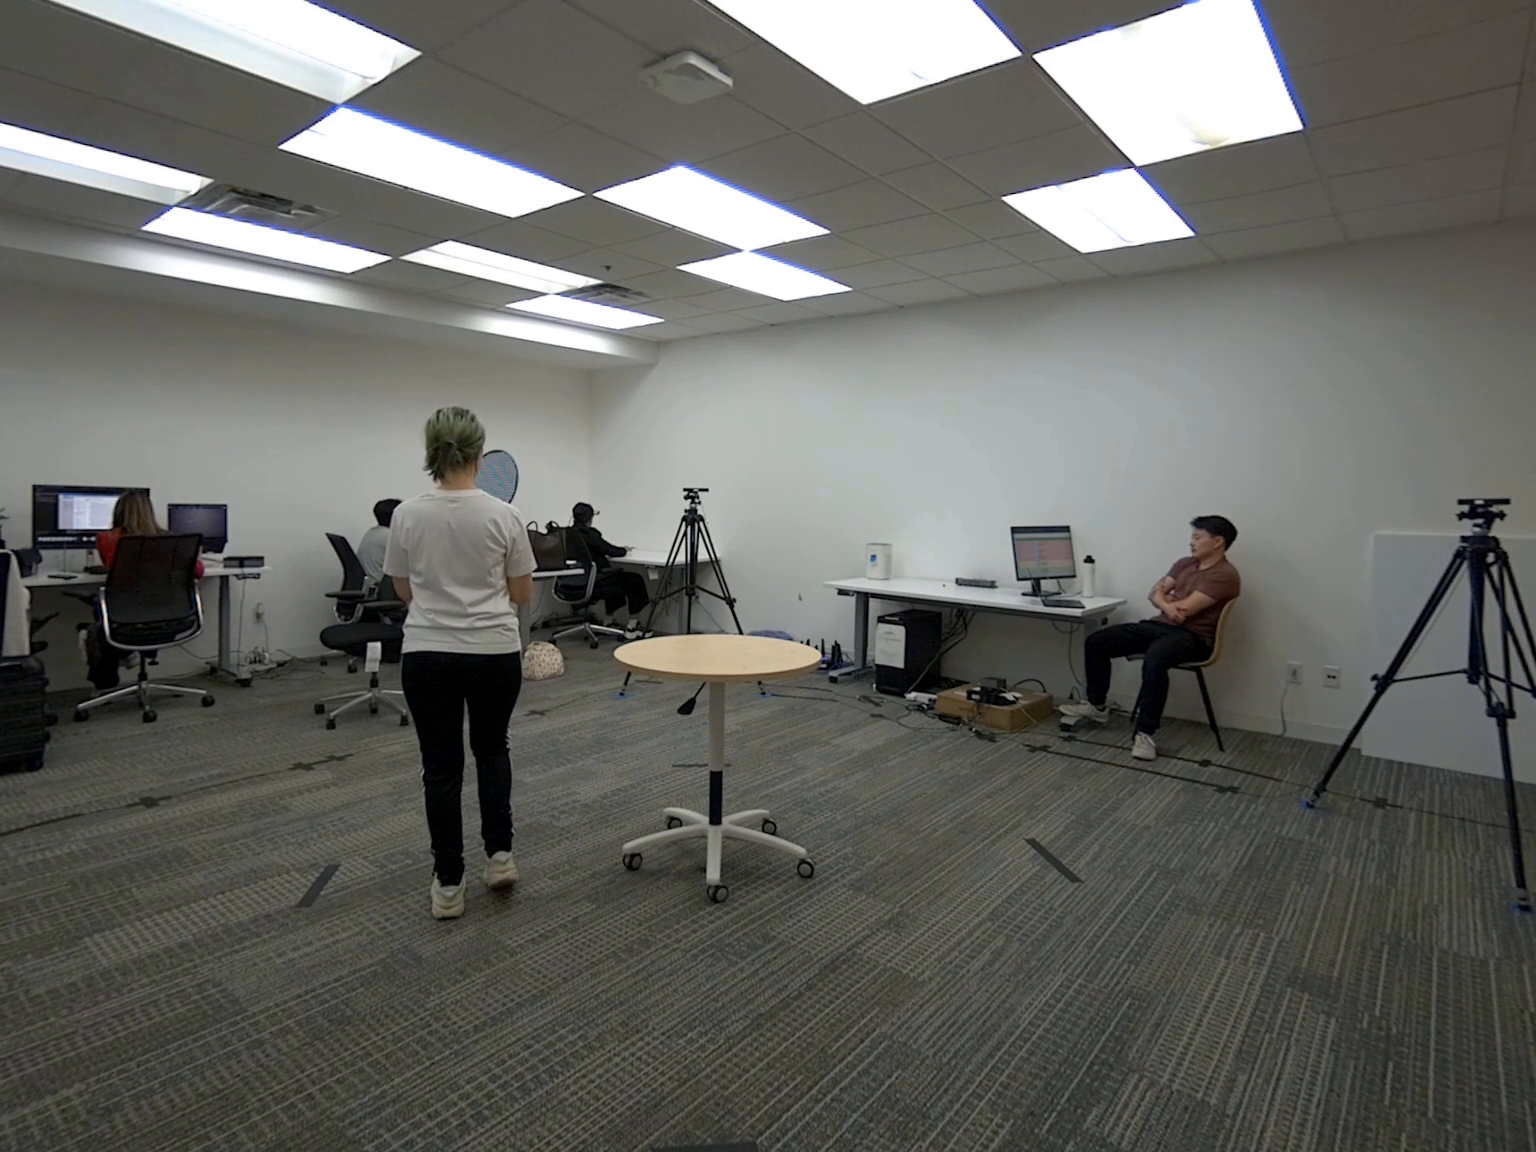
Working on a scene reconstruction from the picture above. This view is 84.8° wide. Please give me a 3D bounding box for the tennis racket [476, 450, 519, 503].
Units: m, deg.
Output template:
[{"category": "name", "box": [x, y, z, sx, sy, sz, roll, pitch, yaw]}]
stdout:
[{"category": "tennis racket", "box": [-1.018, -0.263, 3.093, 0.217, 0.439, 0.031, -4, -15, 18]}]
